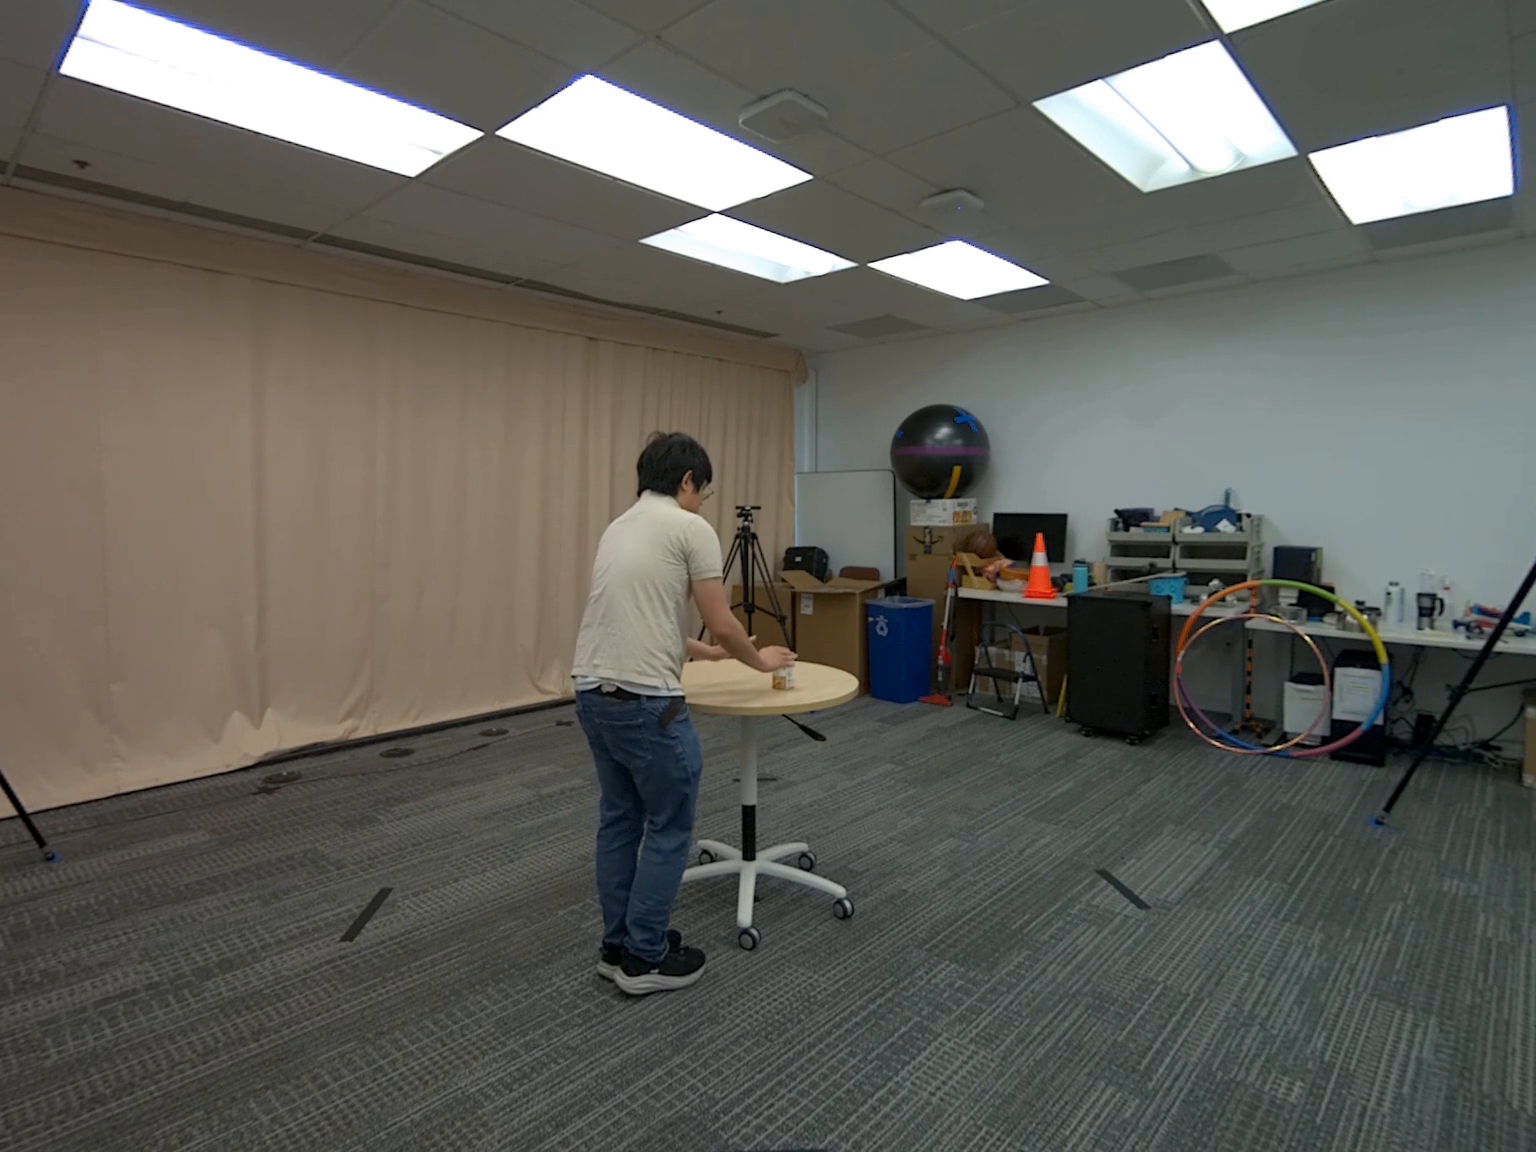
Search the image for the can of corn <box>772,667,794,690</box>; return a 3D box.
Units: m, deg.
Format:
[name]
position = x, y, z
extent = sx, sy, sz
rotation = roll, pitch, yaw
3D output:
[can of corn]
position = 0.053, 0.325, 2.816
extent = 0.074, 0.110, 0.074
rotation = 1, 6, -2
